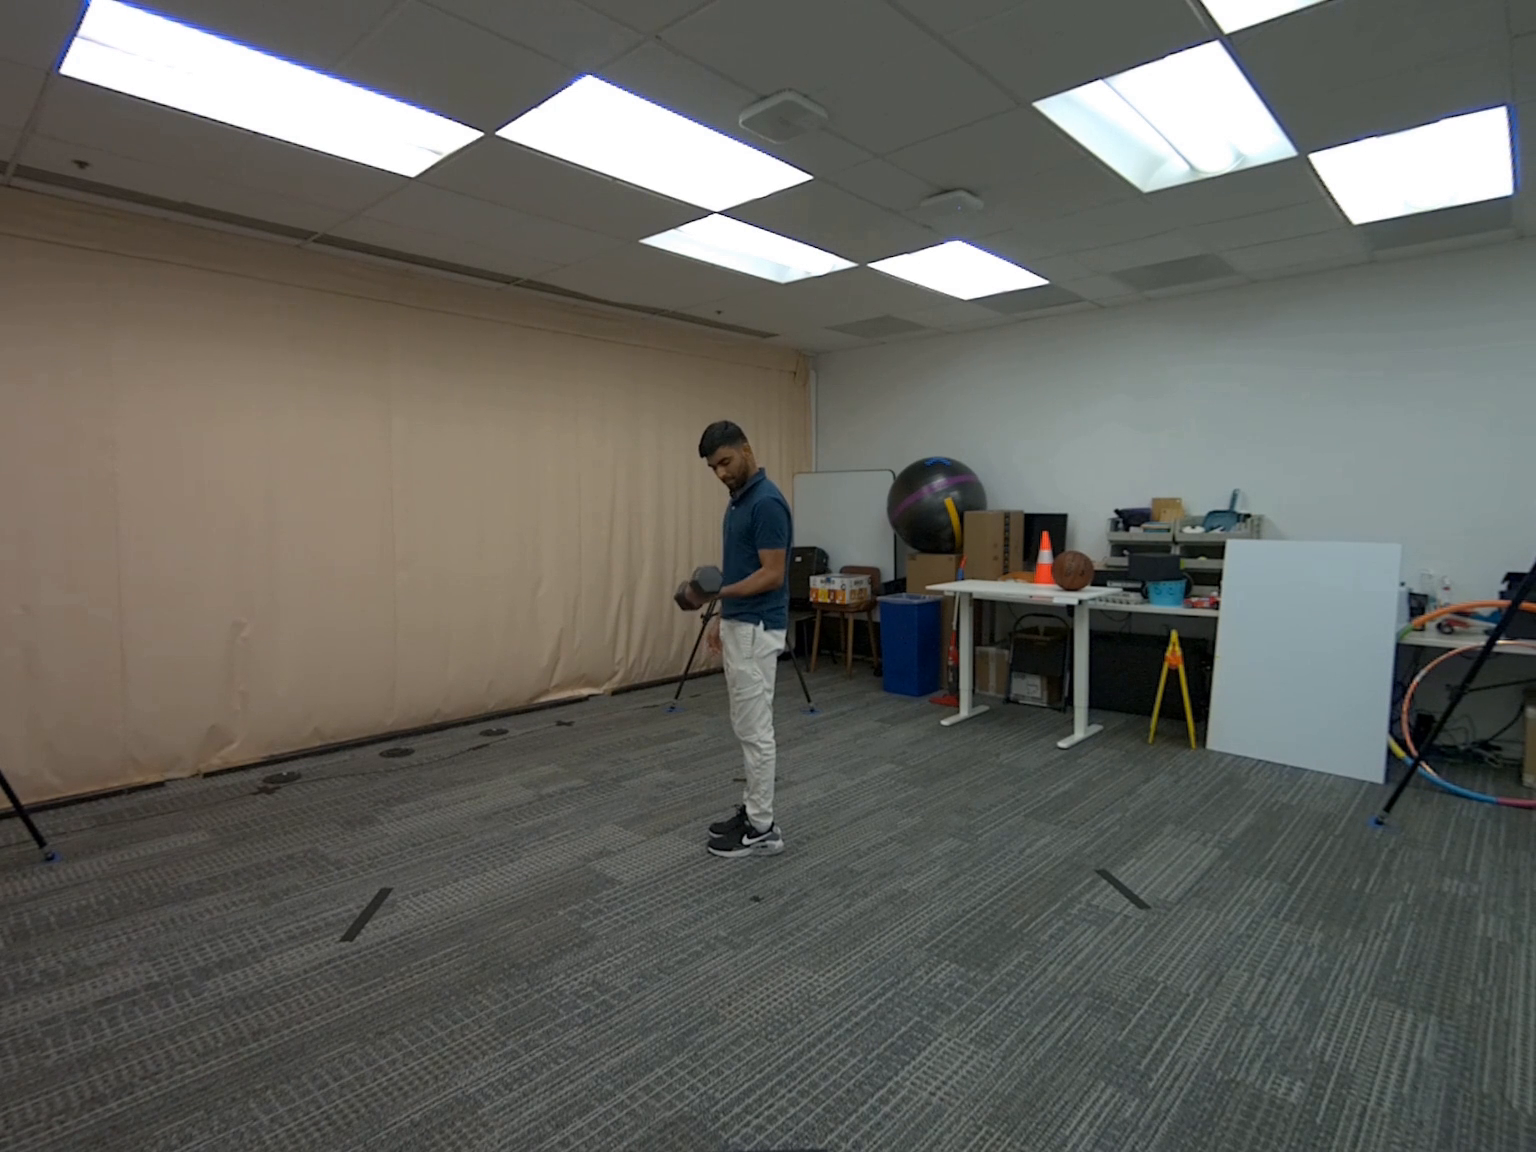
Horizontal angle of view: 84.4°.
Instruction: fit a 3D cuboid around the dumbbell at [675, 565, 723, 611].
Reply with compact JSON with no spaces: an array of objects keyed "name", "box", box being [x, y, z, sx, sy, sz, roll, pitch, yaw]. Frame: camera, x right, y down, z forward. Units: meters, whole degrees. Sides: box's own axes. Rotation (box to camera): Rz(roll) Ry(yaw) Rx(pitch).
[{"name":"dumbbell","box":[-0.249,0.044,3.143,0.120,0.110,0.296,-4,-14,-23]}]
